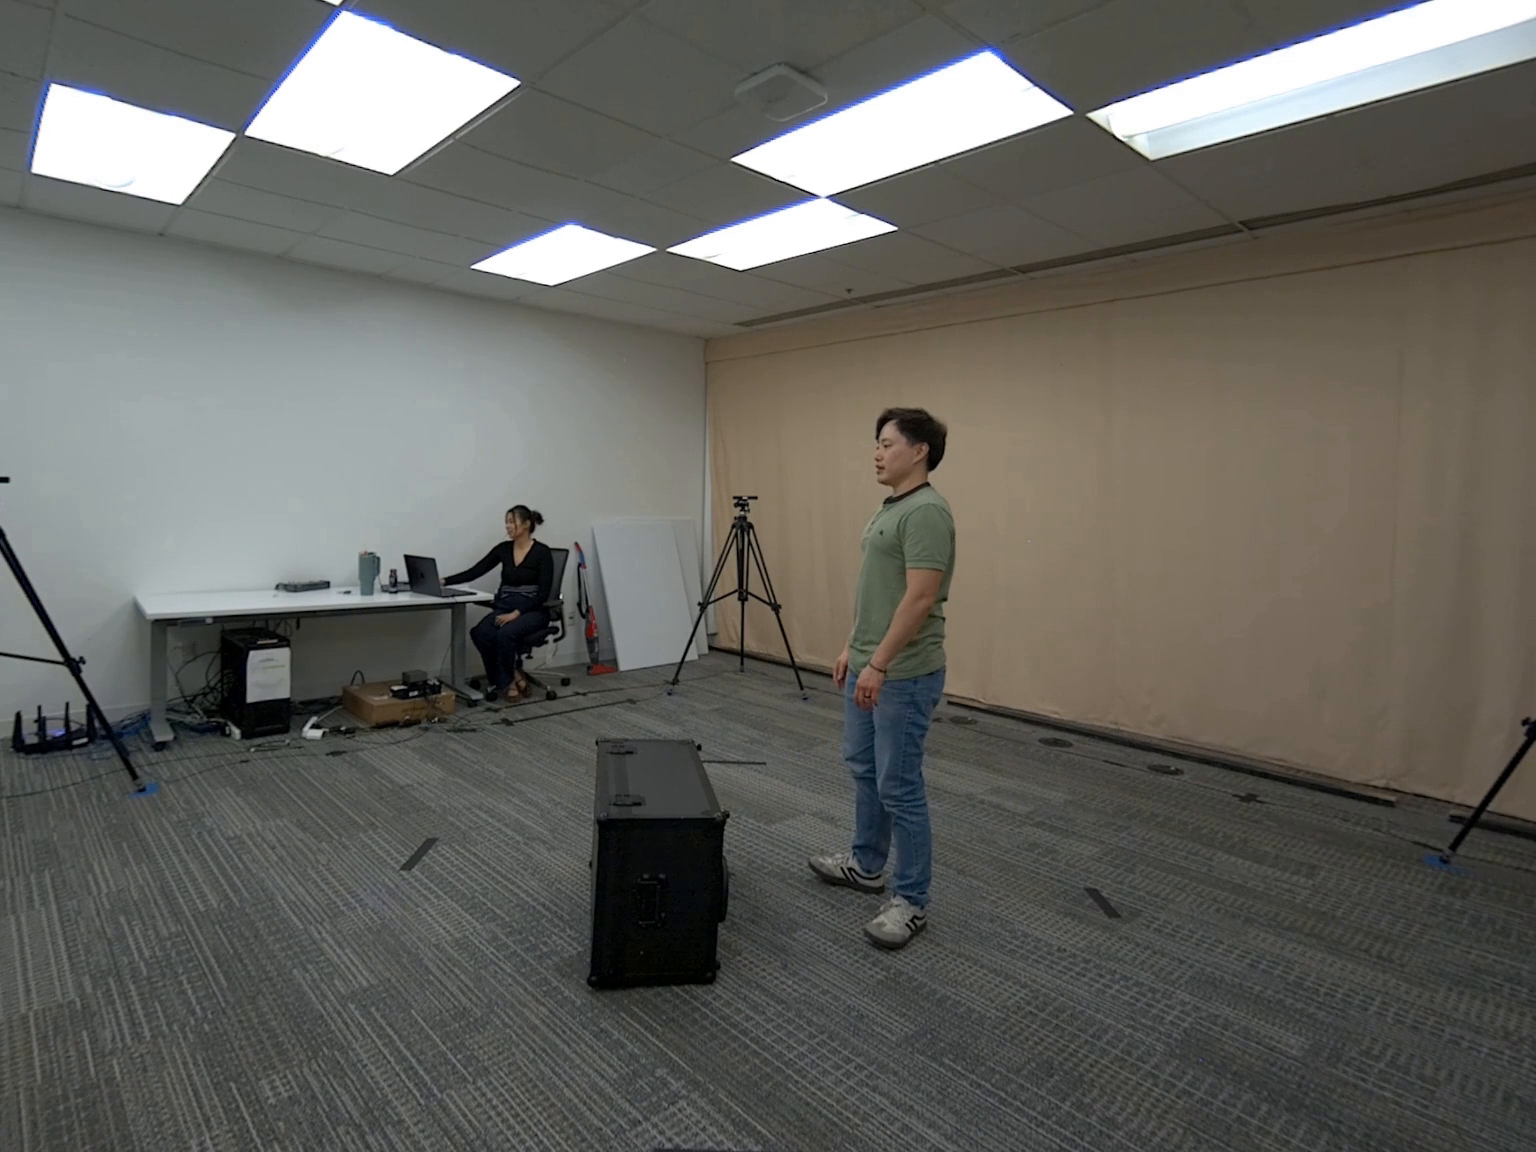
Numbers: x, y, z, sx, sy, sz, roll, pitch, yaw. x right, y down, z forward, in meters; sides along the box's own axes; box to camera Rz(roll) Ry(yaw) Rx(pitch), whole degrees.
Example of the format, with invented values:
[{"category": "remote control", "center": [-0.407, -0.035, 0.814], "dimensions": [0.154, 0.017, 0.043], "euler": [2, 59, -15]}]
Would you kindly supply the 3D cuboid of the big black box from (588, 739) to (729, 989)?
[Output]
[{"category": "big black box", "center": [-0.383, 0.871, 2.773], "dimensions": [0.393, 0.520, 0.871], "euler": [3, 4, -12]}]
